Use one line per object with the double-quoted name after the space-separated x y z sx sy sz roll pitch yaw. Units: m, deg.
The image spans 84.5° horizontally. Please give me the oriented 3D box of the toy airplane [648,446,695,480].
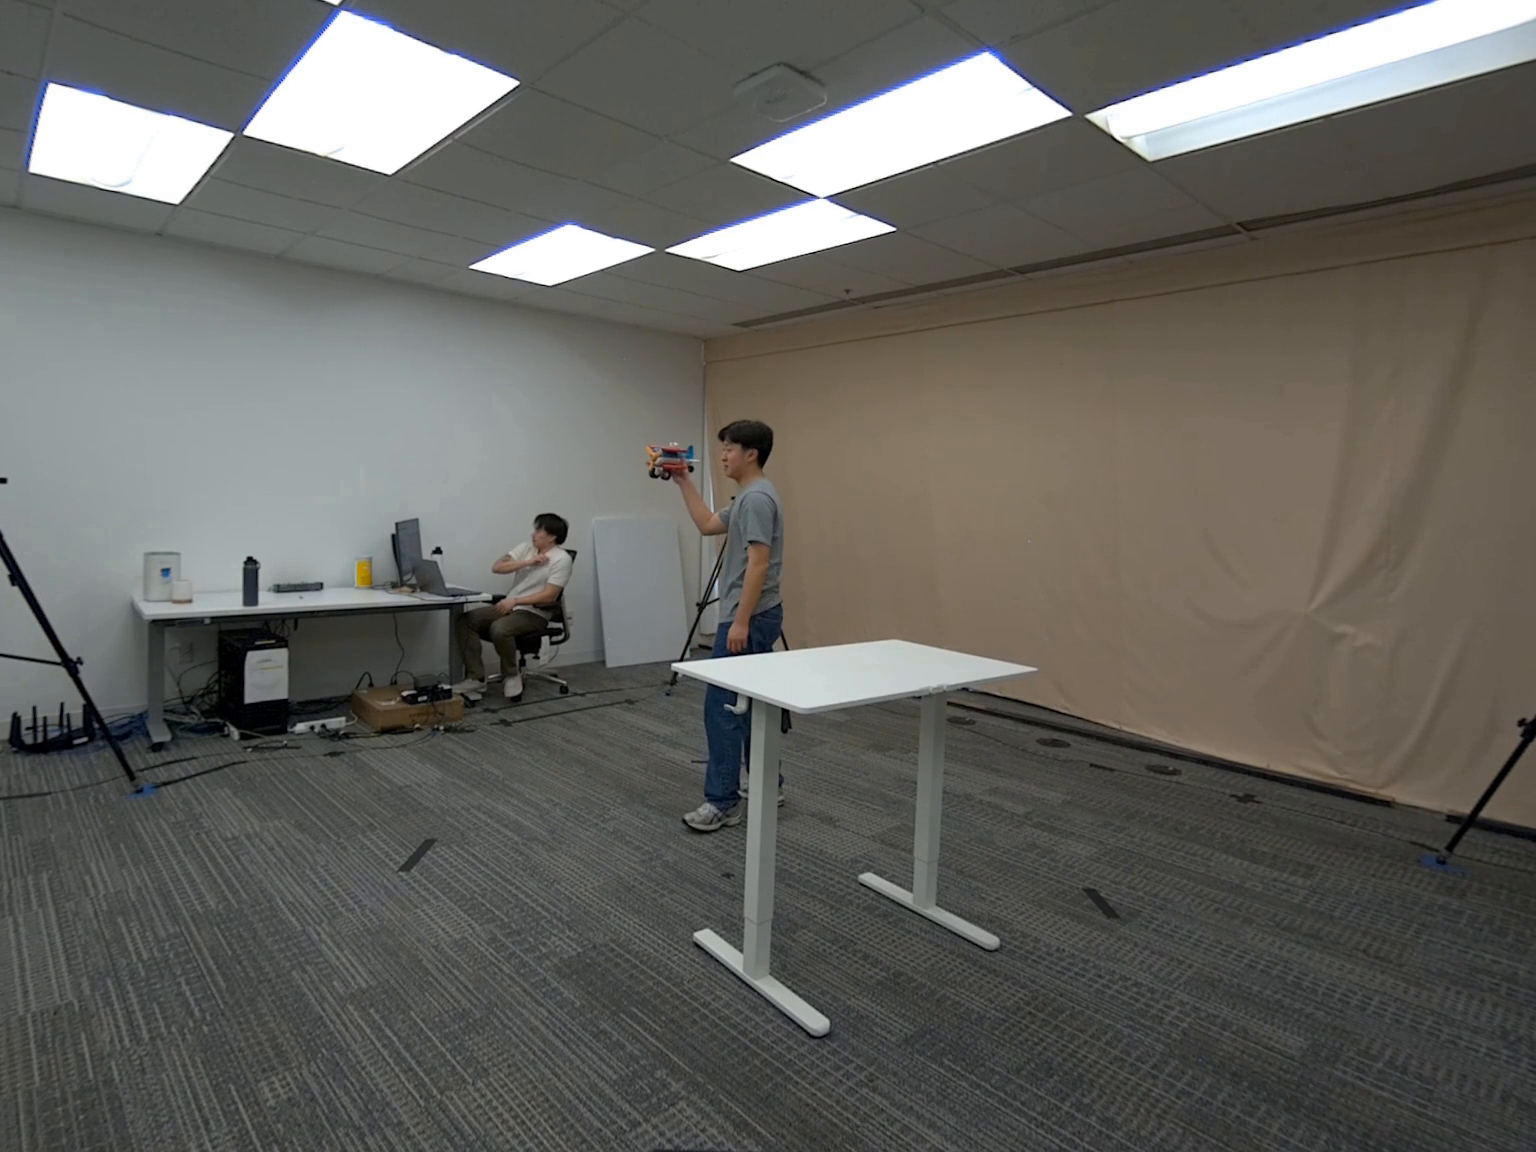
-0.482 -0.556 4.065 0.254 0.154 0.259 1 20 16 "toy airplane"
